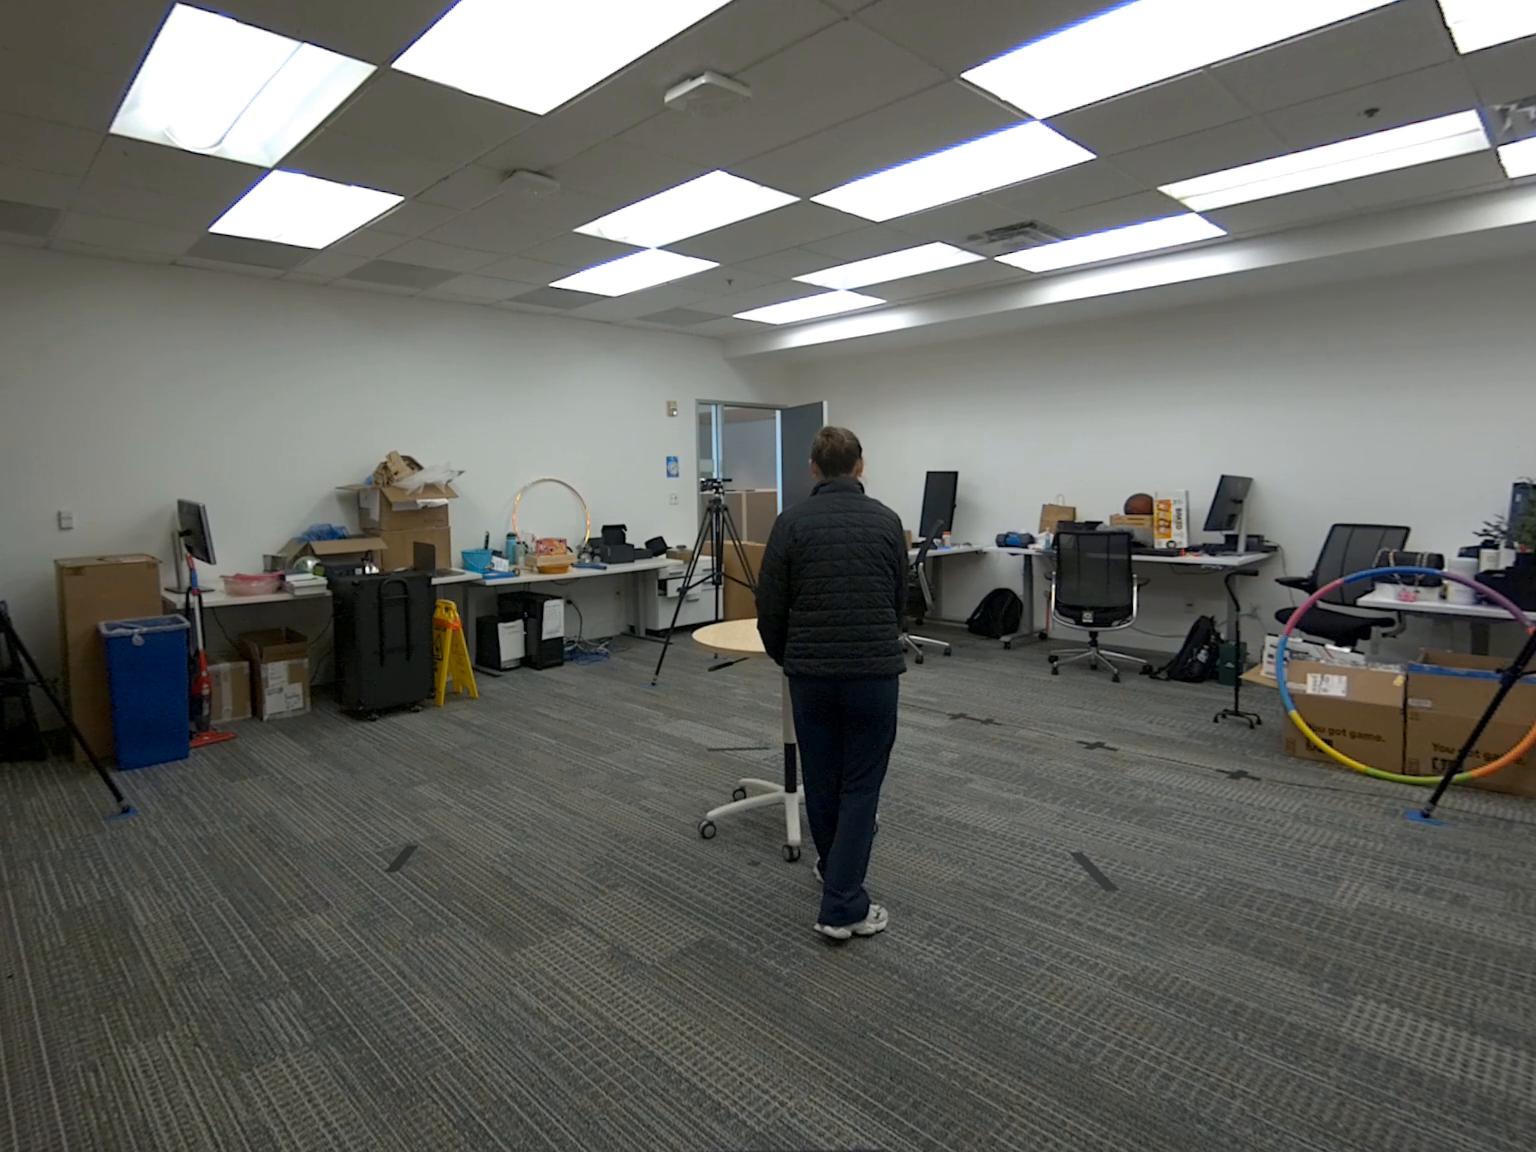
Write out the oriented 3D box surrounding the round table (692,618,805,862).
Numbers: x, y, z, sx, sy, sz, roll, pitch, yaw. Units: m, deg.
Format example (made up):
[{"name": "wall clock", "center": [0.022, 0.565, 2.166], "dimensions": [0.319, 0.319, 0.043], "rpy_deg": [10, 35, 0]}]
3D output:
[{"name": "round table", "center": [0.080, 0.614, 3.418], "dimensions": [0.784, 0.784, 0.789], "rpy_deg": [-1, 5, -2]}]
